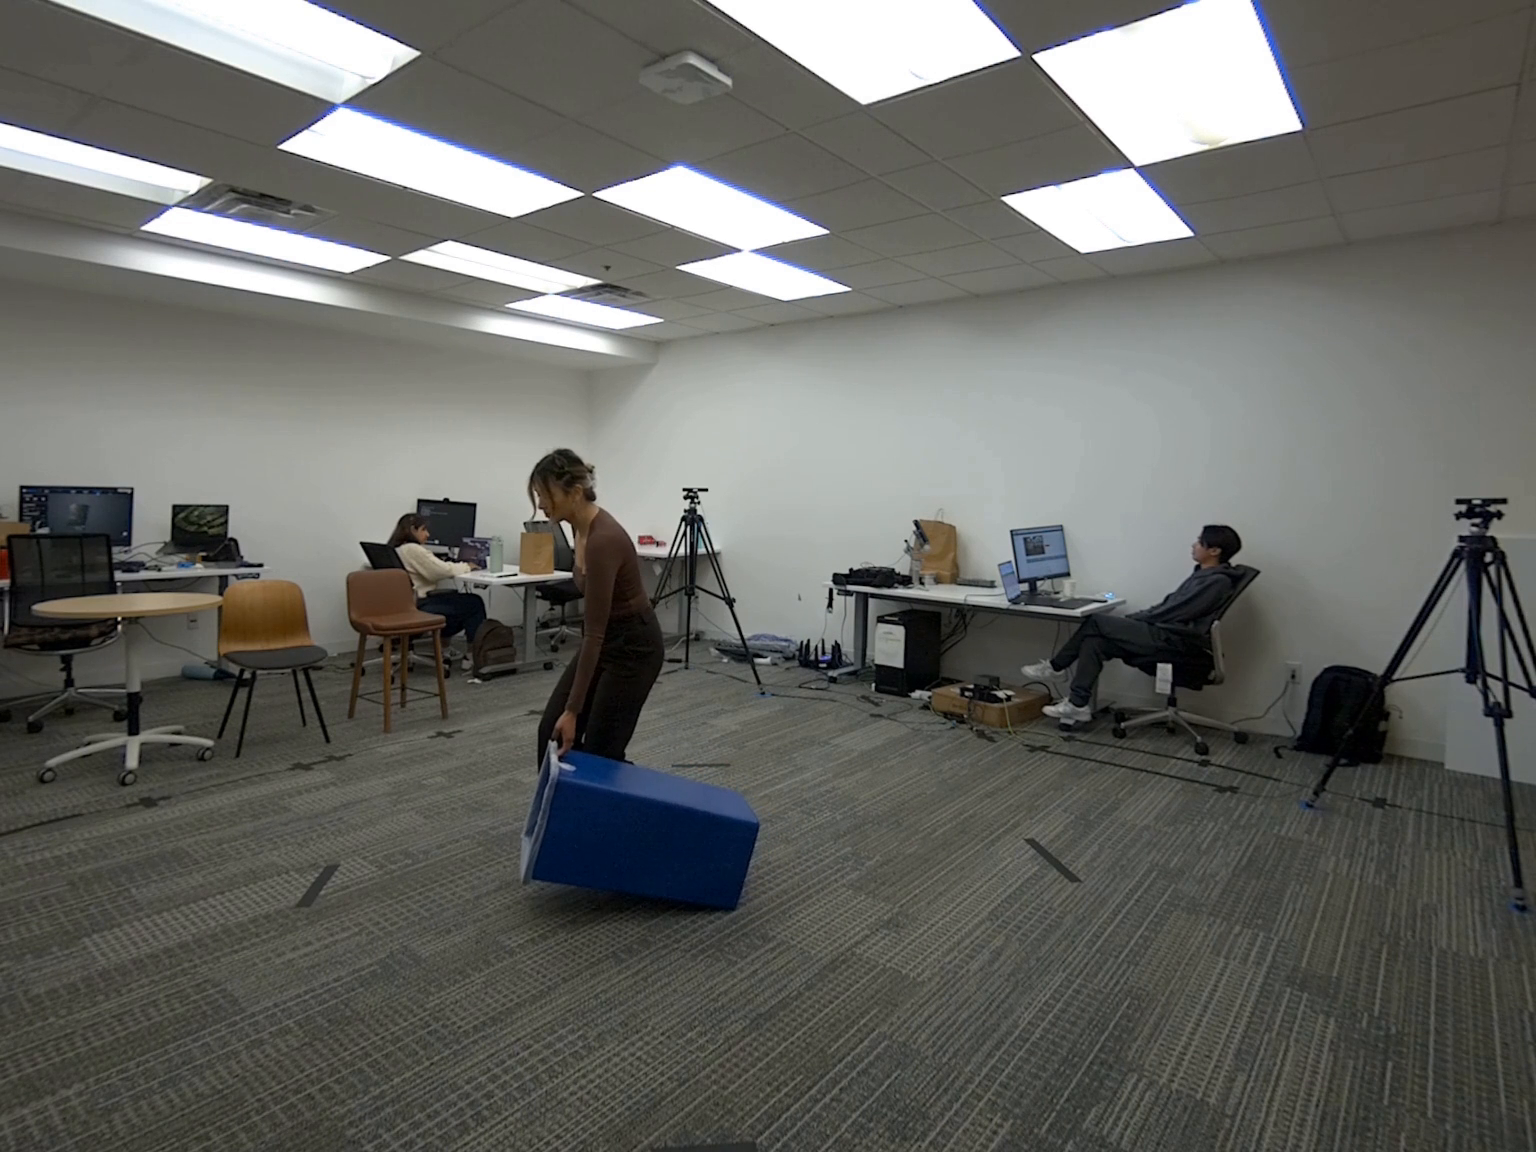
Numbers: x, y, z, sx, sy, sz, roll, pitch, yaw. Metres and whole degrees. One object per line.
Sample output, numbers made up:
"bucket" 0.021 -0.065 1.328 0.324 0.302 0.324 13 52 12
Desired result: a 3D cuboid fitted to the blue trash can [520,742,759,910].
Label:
"blue trash can" -0.445 0.845 2.870 0.701 0.378 0.381 15 0 -15
